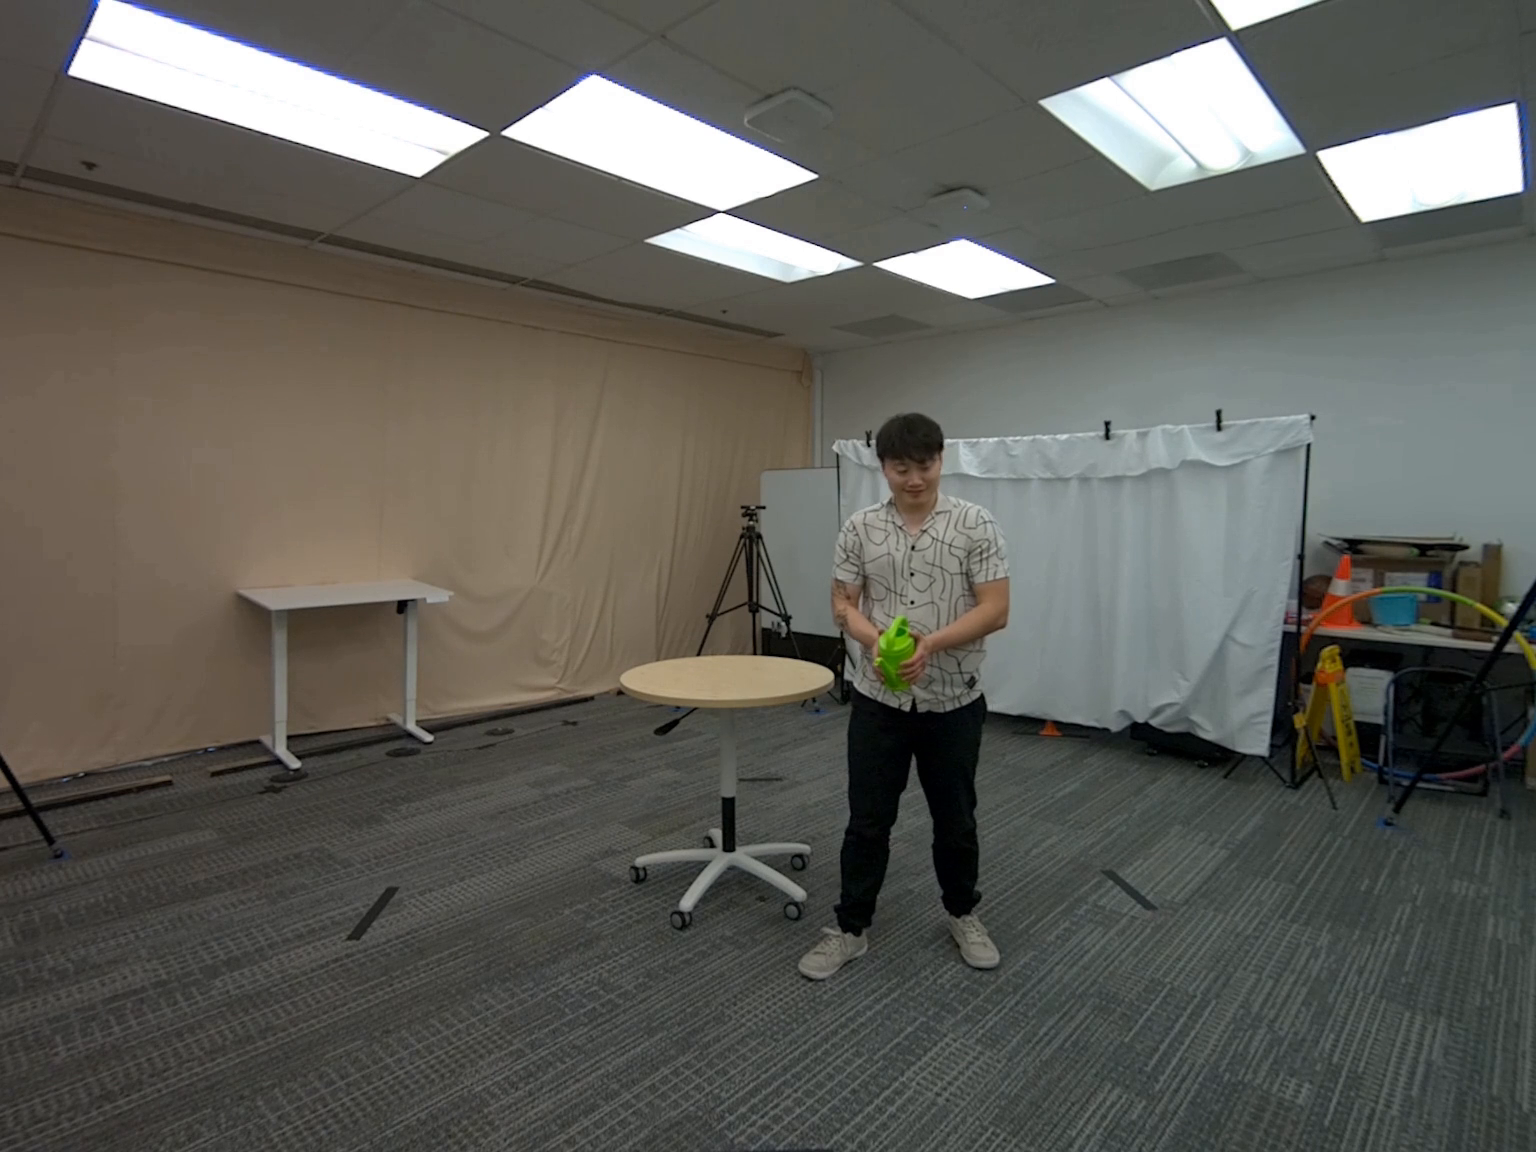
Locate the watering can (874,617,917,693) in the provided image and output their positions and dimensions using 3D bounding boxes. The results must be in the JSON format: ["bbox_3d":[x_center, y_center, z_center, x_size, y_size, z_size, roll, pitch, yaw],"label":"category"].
[{"bbox_3d":[0.342,0.227,2.269,0.101,0.173,0.275,6,30,32],"label":"watering can"}]
